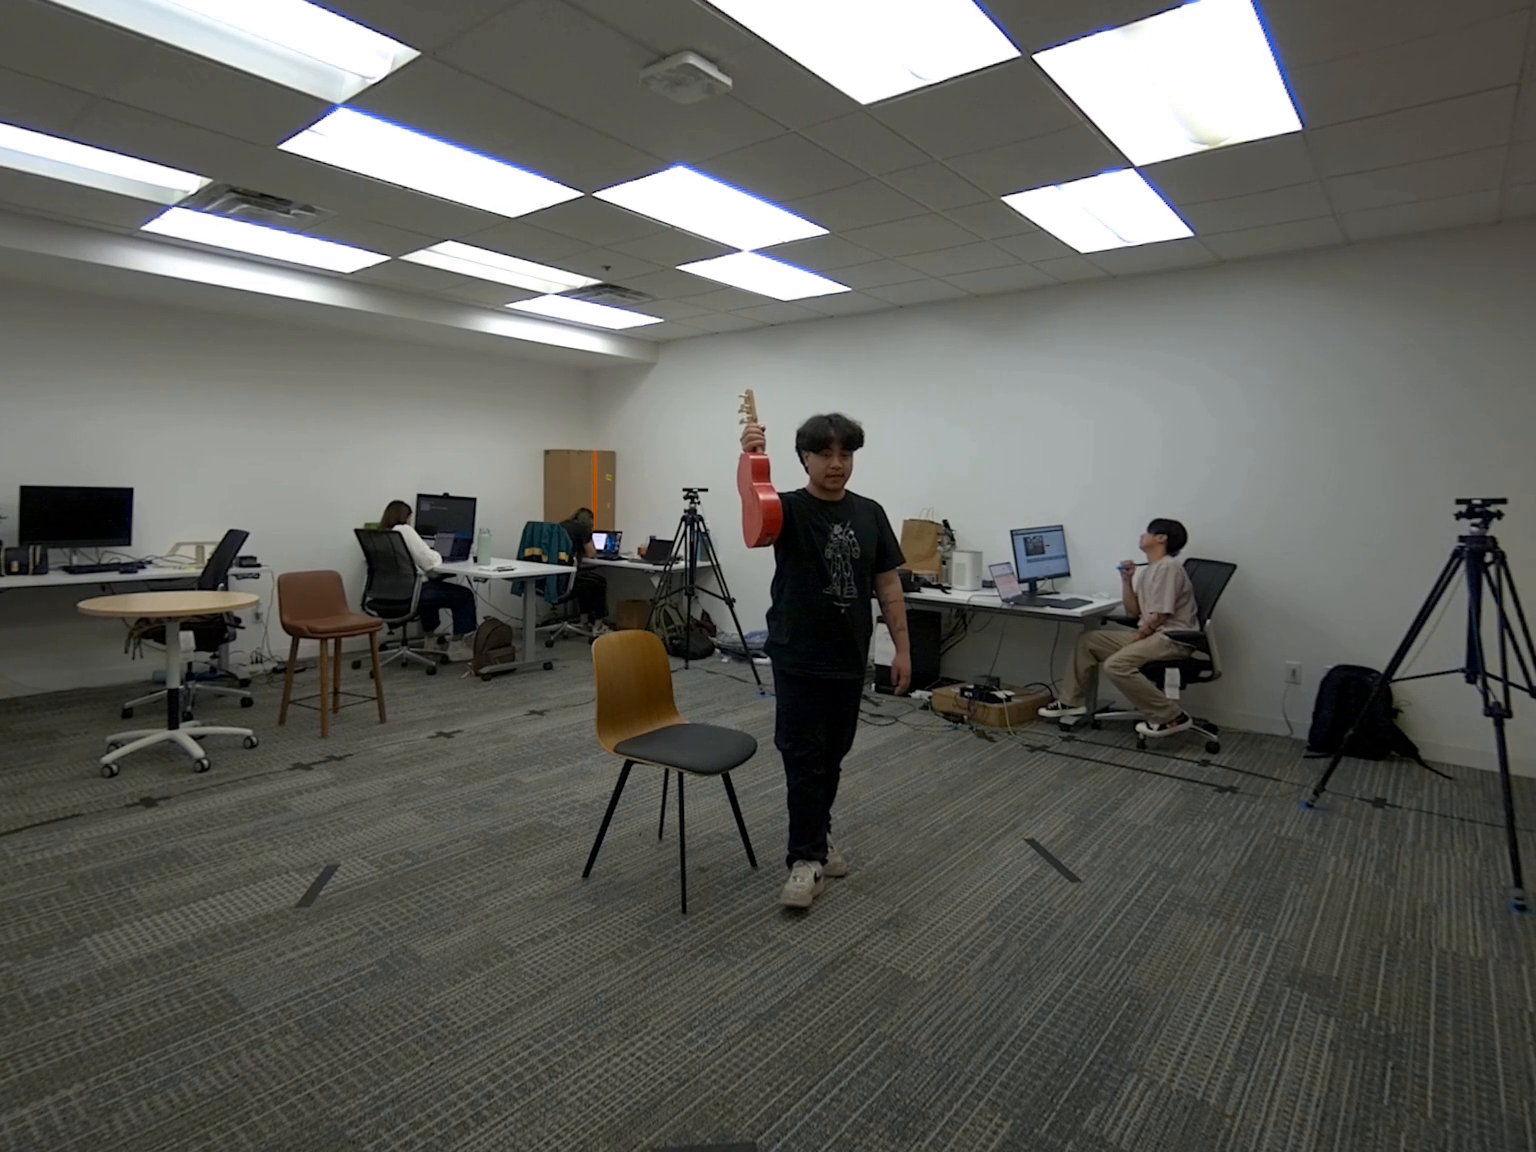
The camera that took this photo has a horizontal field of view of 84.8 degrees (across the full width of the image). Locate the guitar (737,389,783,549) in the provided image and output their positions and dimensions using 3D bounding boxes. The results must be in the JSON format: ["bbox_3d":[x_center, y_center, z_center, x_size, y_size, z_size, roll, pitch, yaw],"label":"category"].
[{"bbox_3d":[-0.058,-0.315,2.494,0.070,0.512,0.190,-3,-30,-14],"label":"guitar"}]
